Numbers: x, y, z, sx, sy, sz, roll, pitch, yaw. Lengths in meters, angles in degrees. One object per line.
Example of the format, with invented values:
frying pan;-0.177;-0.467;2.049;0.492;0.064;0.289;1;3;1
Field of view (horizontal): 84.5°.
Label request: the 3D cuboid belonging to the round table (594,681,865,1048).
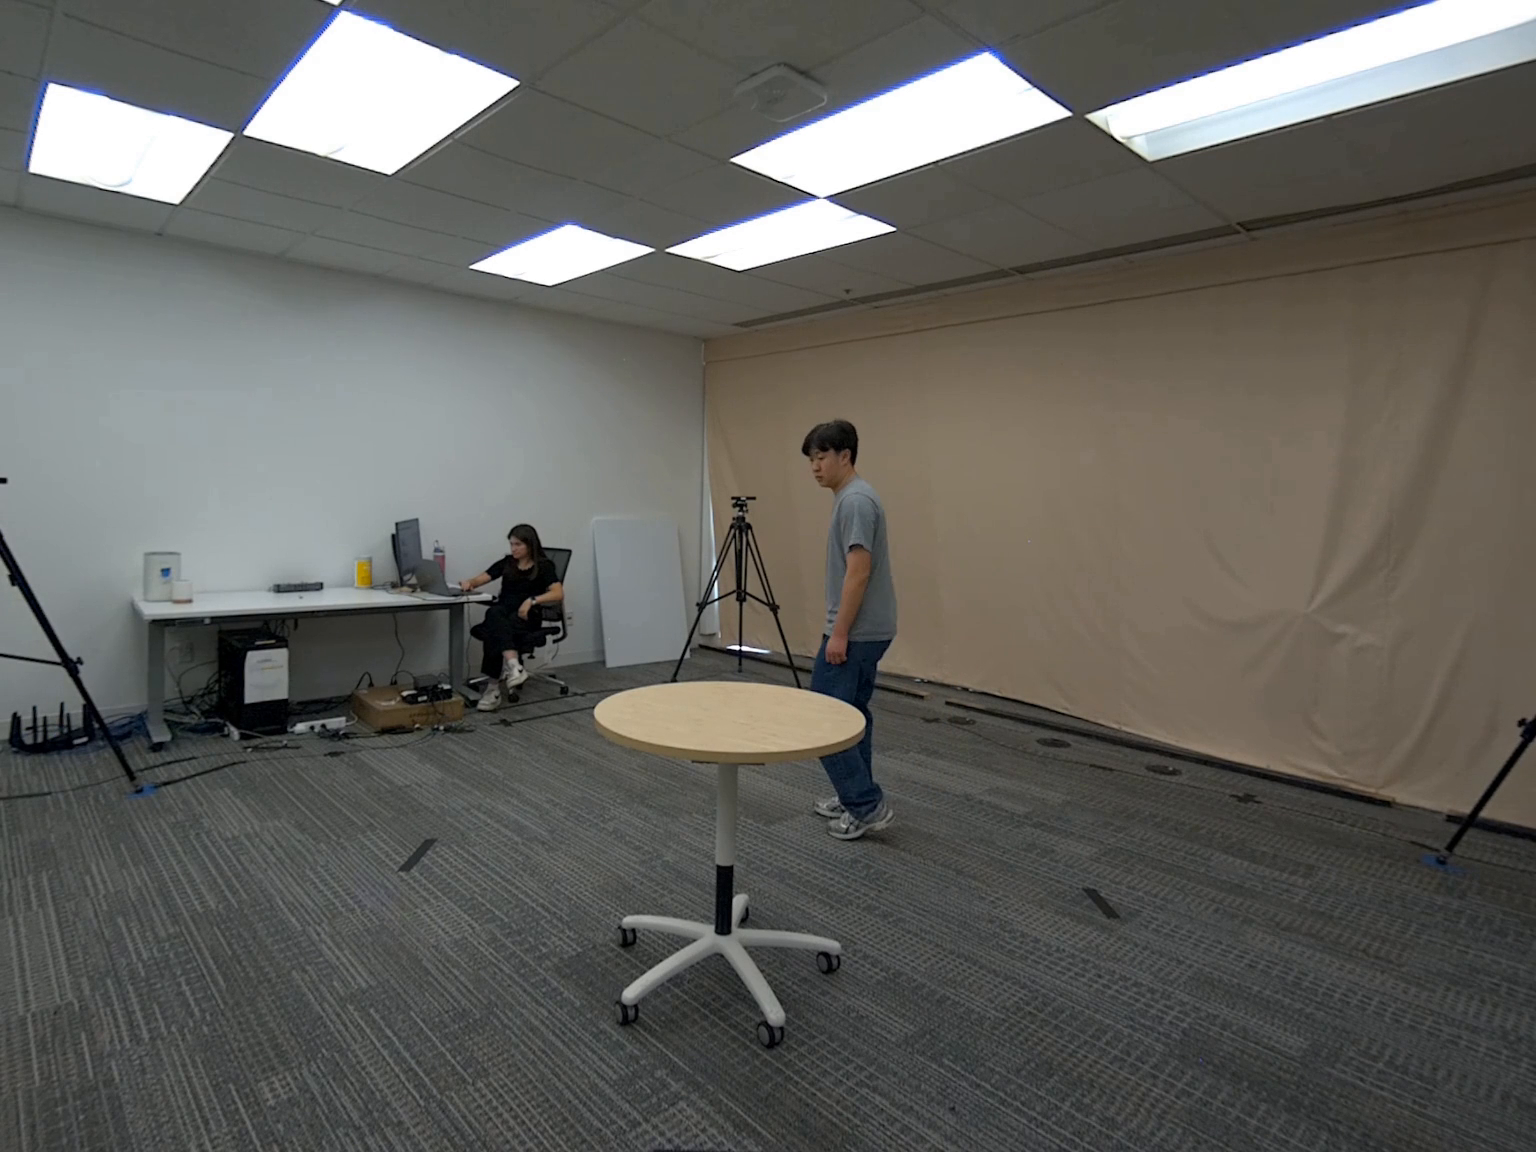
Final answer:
round table;-0.127;0.783;2.413;0.763;0.792;0.767;2;4;-1
